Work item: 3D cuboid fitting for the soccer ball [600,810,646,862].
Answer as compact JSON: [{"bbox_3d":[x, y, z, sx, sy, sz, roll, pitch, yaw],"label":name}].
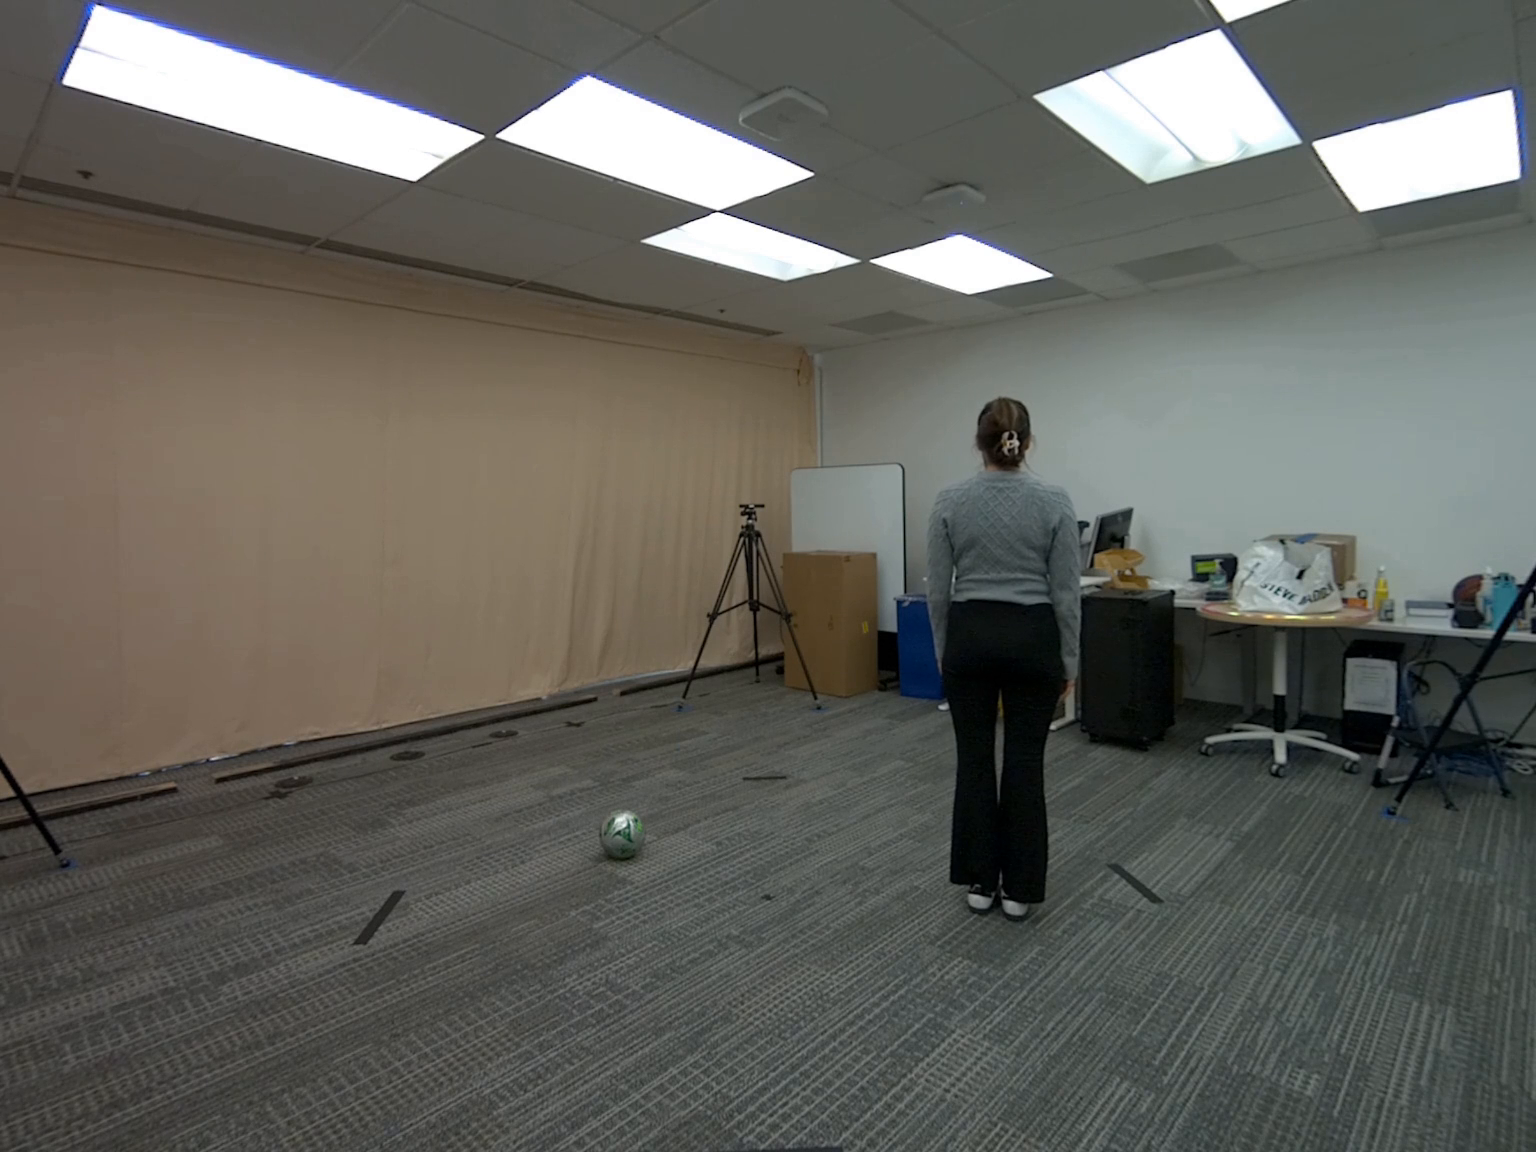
[{"bbox_3d":[-0.581,1.028,3.351,0.187,0.187,0.188,-1,4,-2],"label":"soccer ball"}]
